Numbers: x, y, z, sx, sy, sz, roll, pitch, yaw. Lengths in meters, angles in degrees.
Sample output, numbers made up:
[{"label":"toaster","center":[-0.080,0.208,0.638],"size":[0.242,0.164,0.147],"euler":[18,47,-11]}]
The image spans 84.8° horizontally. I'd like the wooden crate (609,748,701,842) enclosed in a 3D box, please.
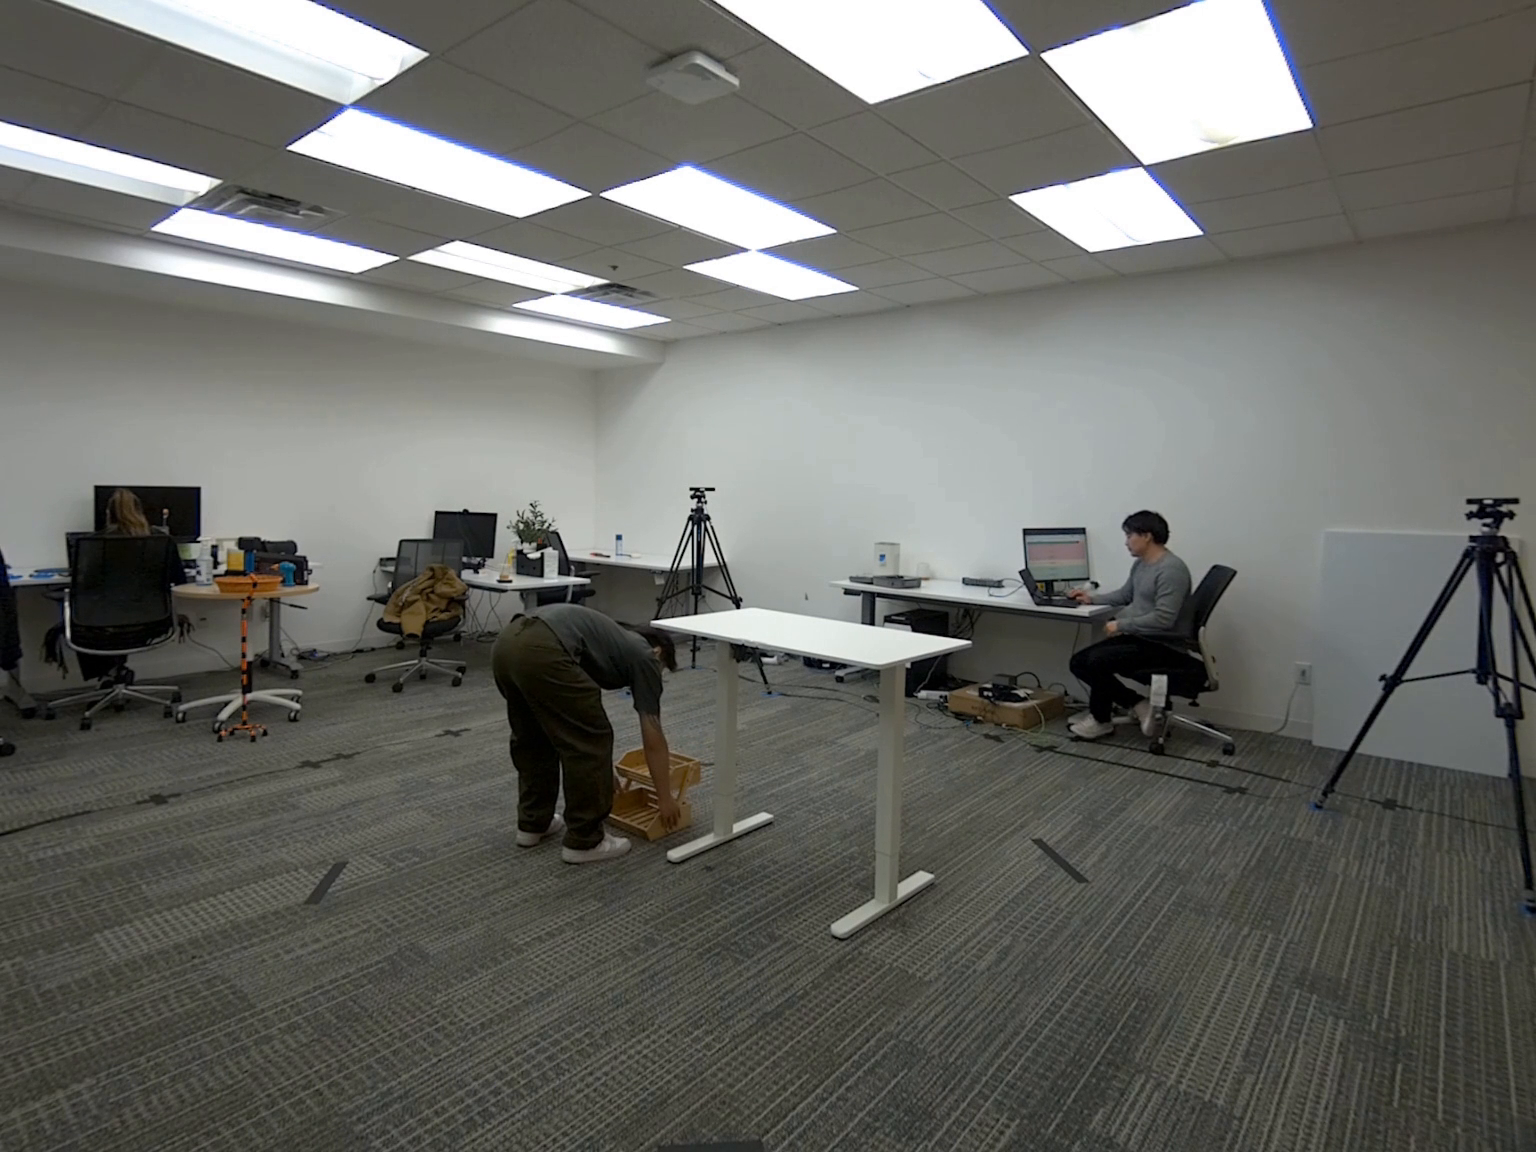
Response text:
[{"label":"wooden crate","center":[-0.507,0.890,3.529],"size":[0.335,0.272,0.293],"euler":[5,5,41]}]
